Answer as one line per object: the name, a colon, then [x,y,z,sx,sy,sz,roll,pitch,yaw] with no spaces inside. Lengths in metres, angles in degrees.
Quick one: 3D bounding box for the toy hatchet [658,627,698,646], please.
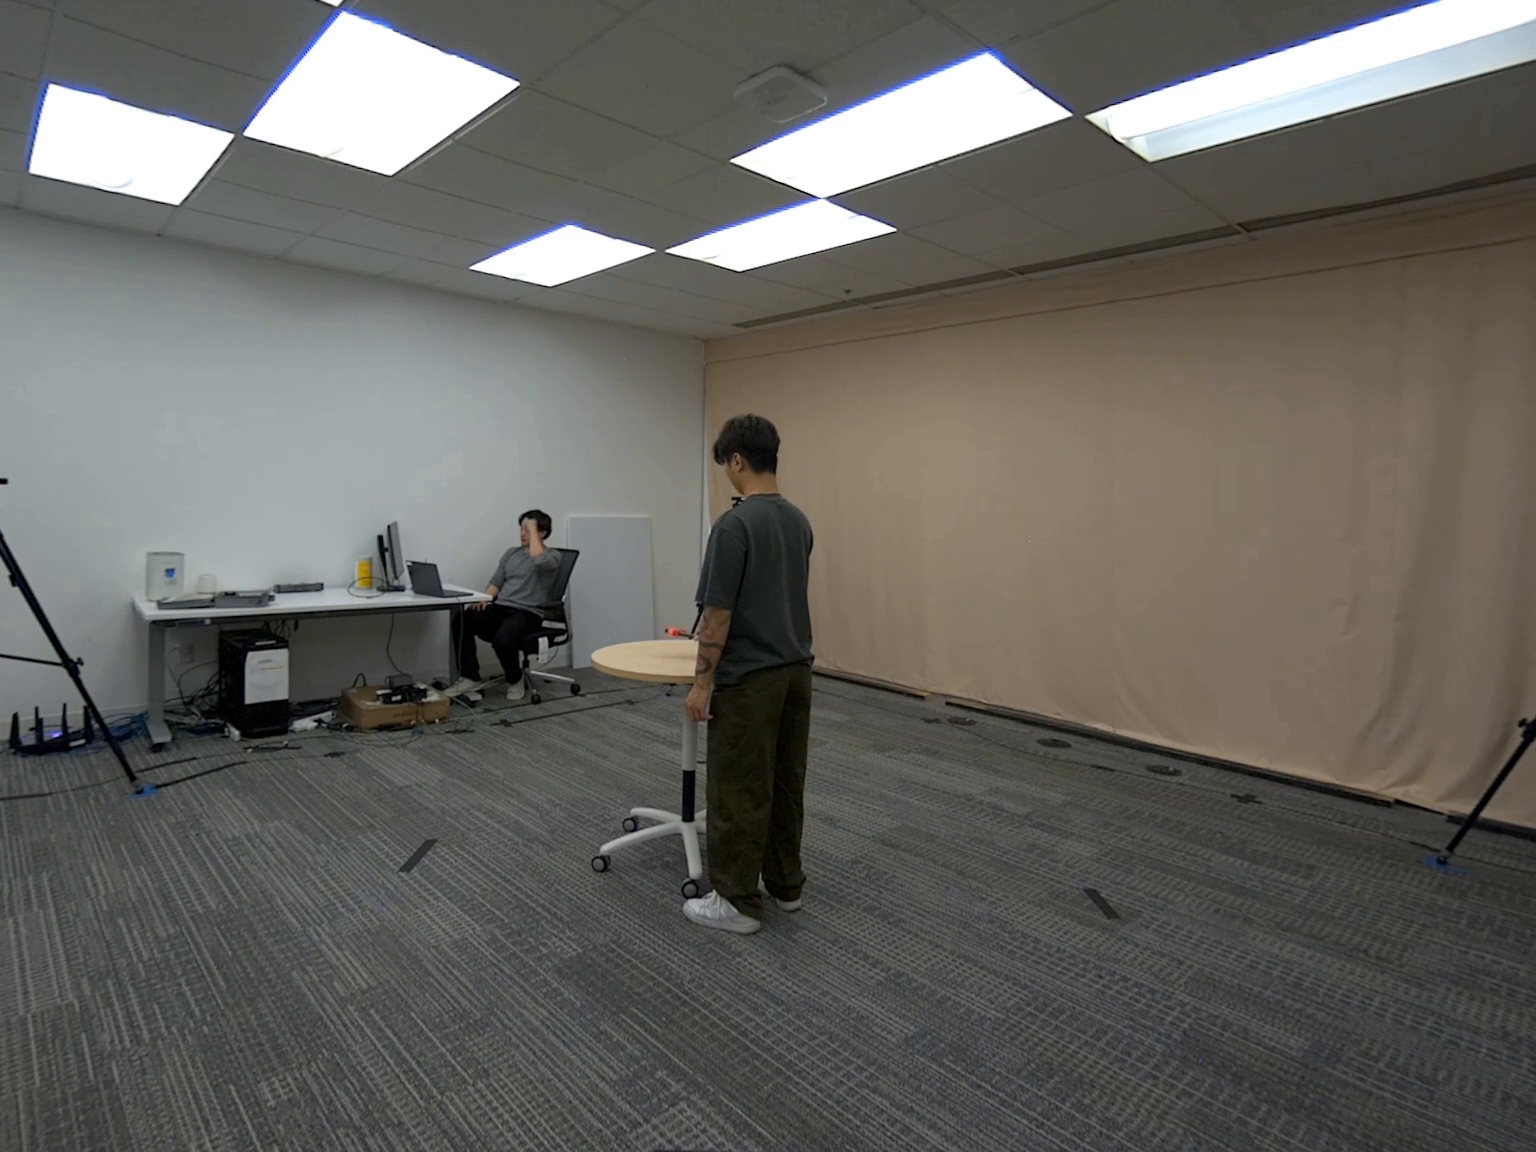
toy hatchet: [-0.274,0.237,3.231,0.265,0.029,0.133,10,2,-20]
